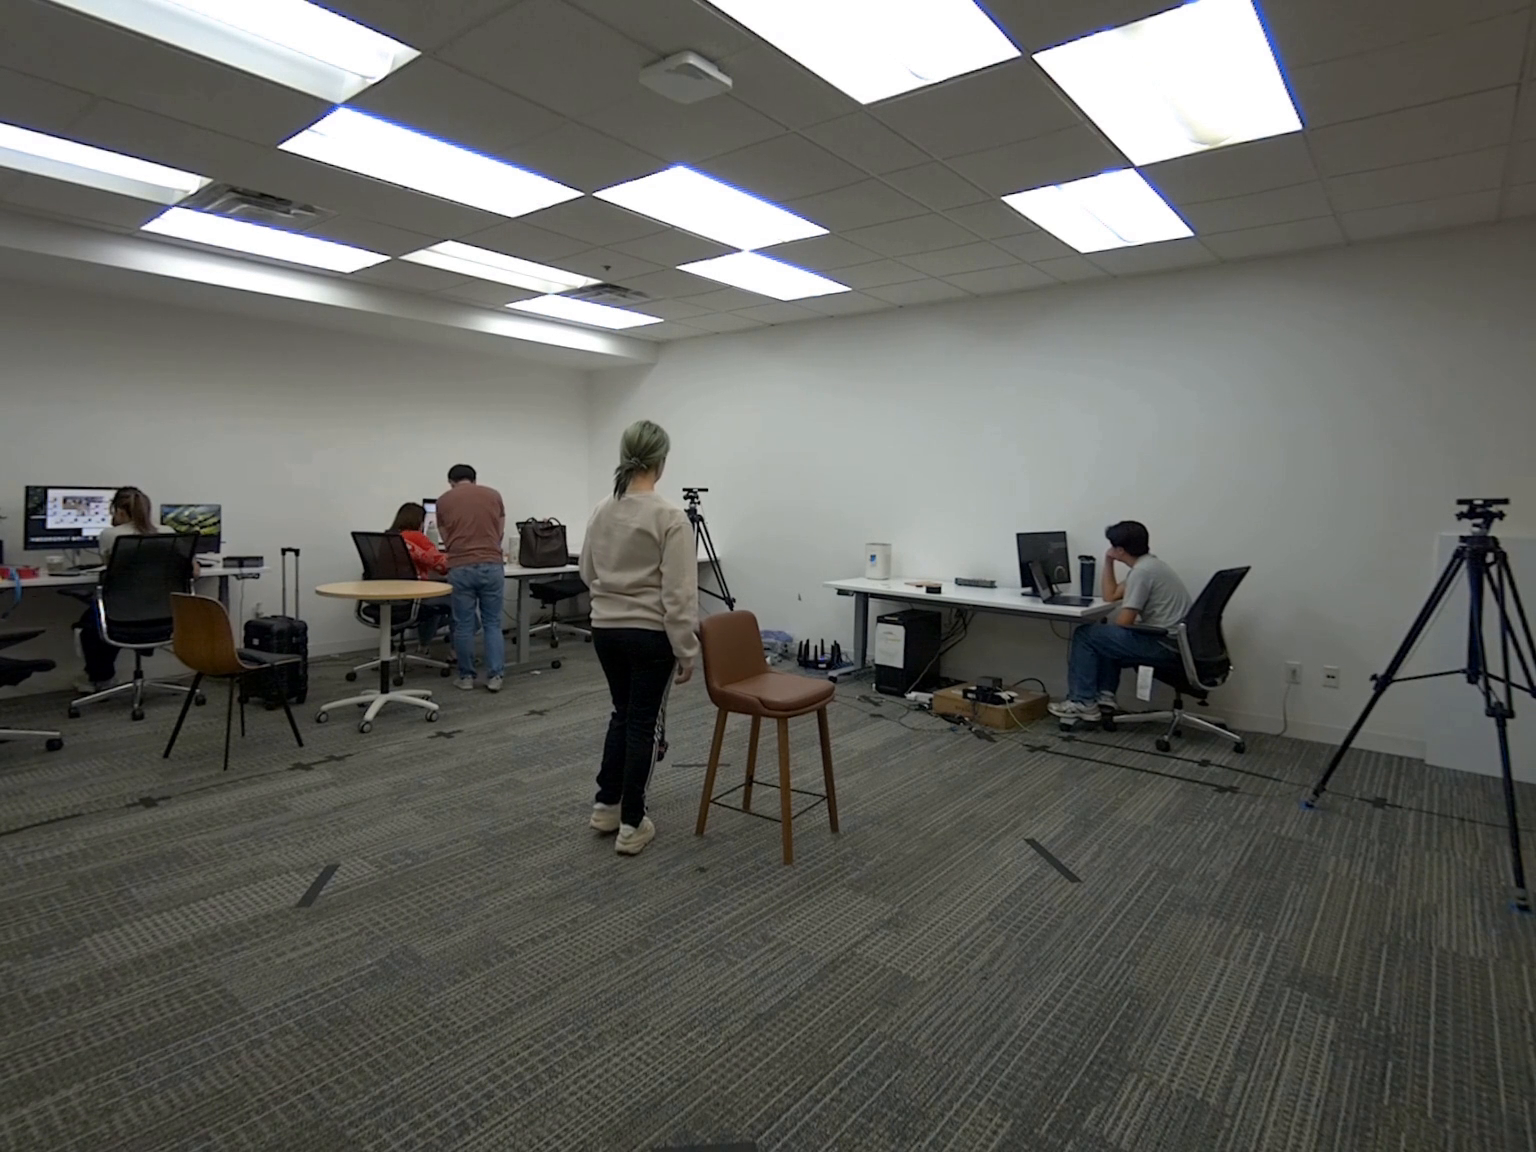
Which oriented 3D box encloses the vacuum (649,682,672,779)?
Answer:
[{"bbox_3d":[-0.519,0.298,3.711,0.145,1.043,0.252,2,6,6],"label":"vacuum"}]
